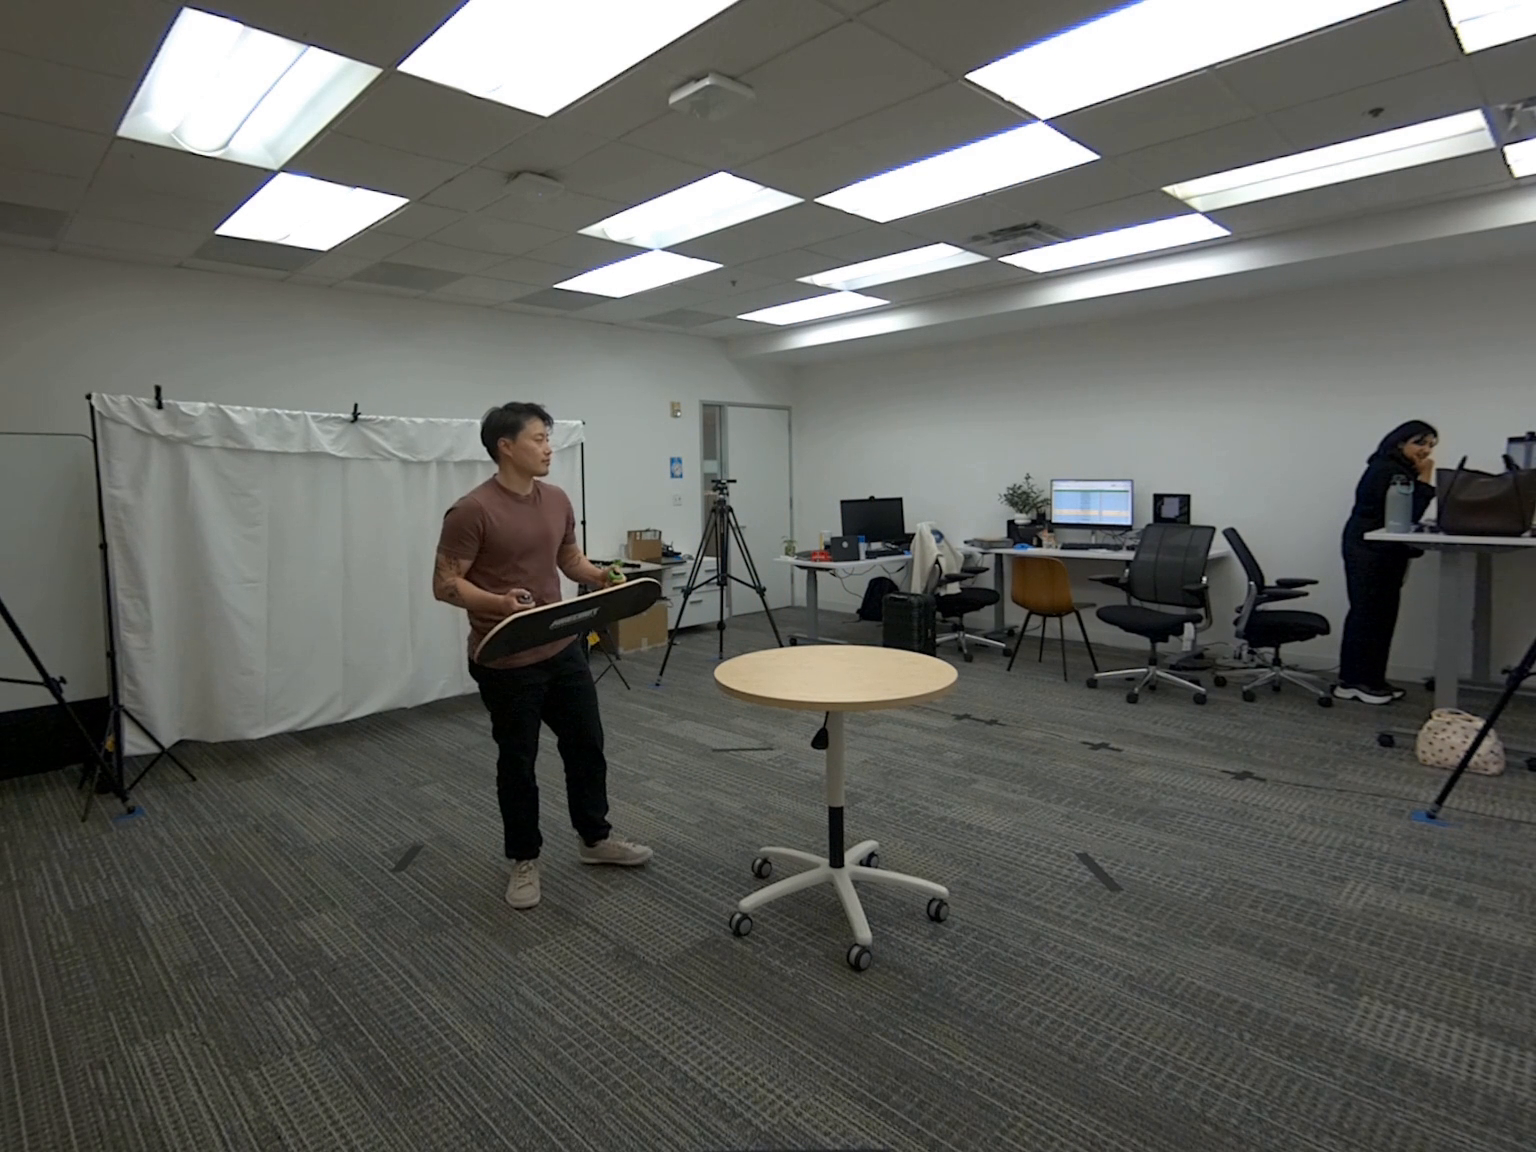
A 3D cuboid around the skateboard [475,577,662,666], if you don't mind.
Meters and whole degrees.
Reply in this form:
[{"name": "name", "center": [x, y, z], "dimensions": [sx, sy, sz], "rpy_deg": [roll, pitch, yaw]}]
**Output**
[{"name": "skateboard", "center": [-0.654, 0.111, 2.801], "dimensions": [0.113, 0.192, 0.769], "rpy_deg": [46, 33, 19]}]
